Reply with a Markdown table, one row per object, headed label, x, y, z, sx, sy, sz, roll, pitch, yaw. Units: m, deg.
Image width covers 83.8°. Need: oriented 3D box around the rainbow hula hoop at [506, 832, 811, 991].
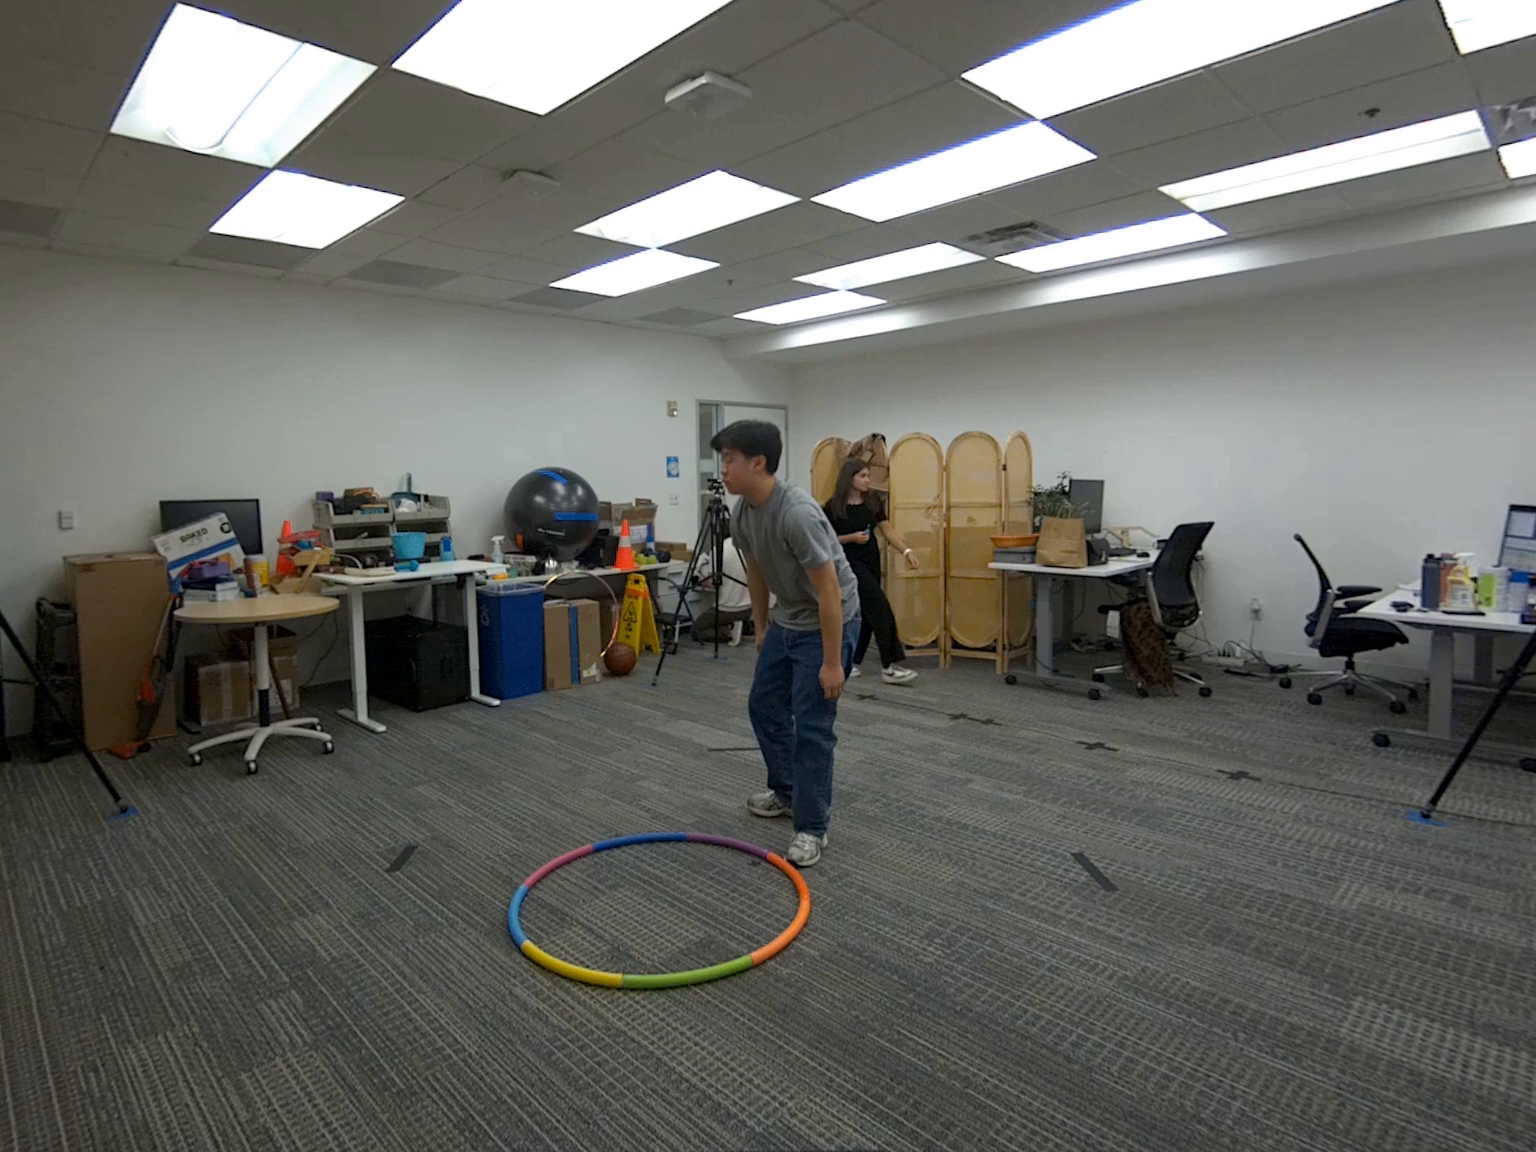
| label | x | y | z | sx | sy | sz | roll | pitch | yaw |
| --- | --- | --- | --- | --- | --- | --- | --- | --- | --- |
| rainbow hula hoop | -0.355 | 1.054 | 2.838 | 0.978 | 0.035 | 0.984 | -1 | 6 | -2 |
